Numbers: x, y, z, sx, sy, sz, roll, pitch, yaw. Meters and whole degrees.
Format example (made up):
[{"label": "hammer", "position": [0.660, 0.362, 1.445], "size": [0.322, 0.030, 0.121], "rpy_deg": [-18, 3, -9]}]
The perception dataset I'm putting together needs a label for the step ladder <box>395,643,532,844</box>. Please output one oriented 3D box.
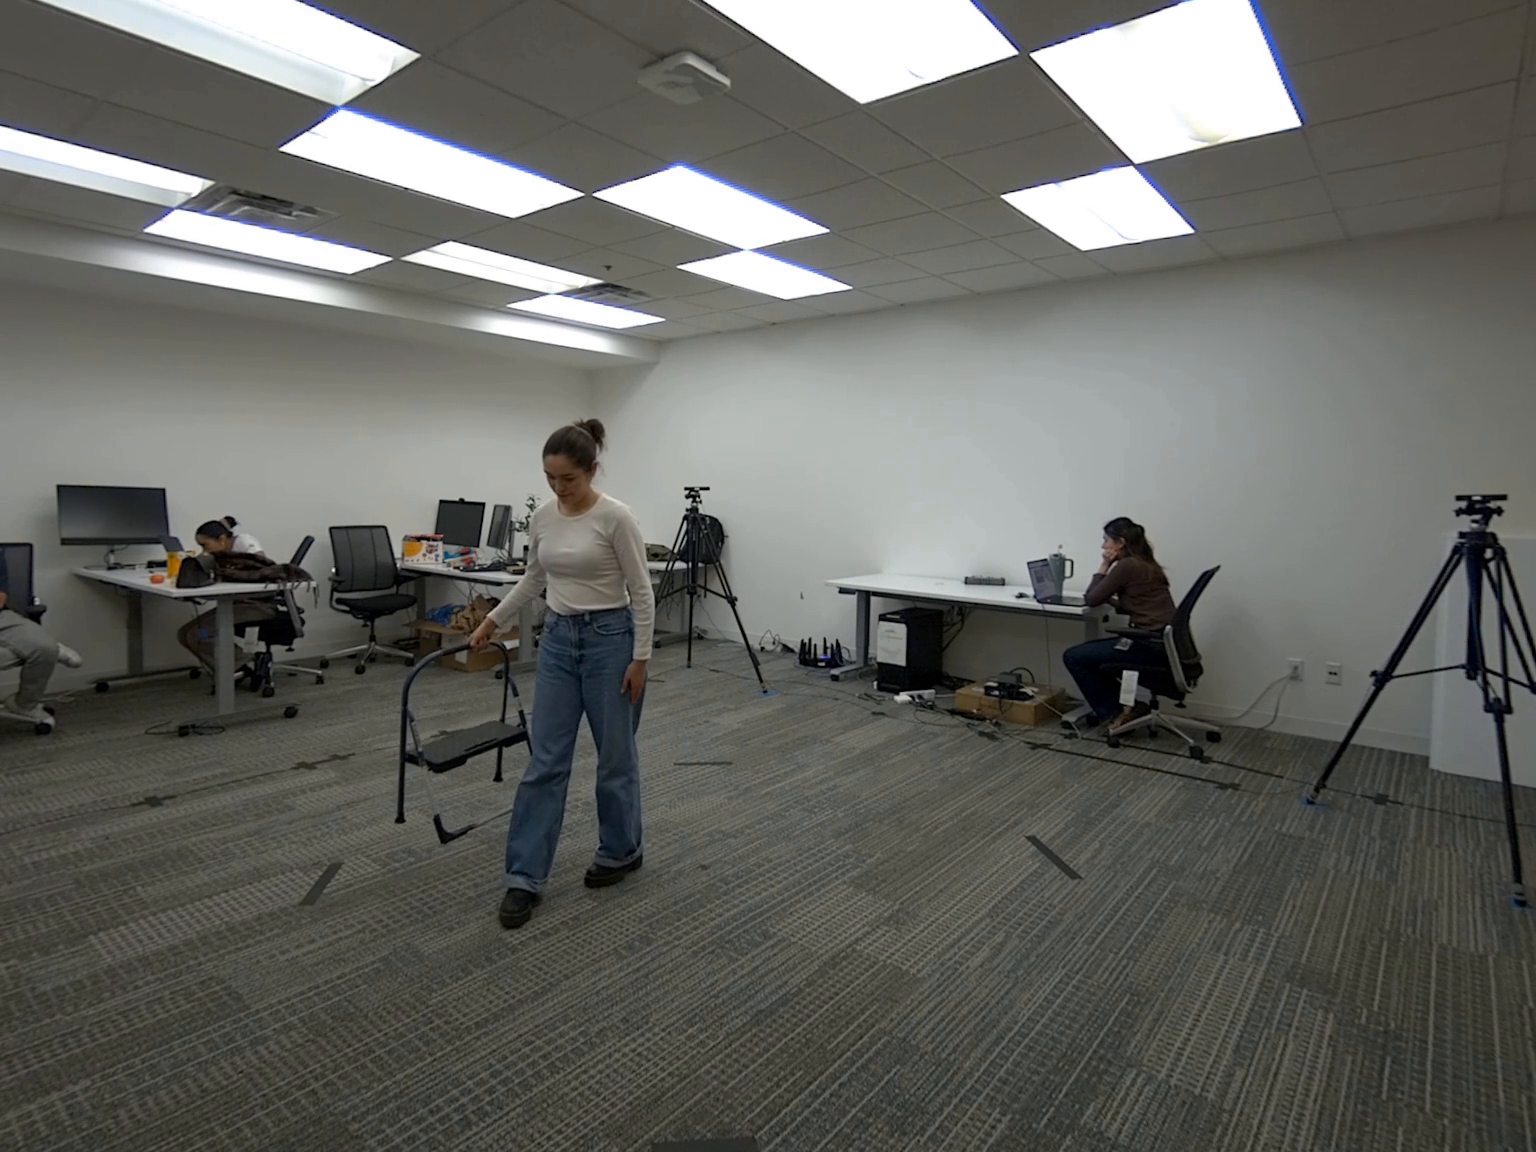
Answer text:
[{"label": "step ladder", "position": [-1.093, 0.534, 2.985], "size": [0.360, 0.602, 0.420], "rpy_deg": [0, 10, 43]}]
